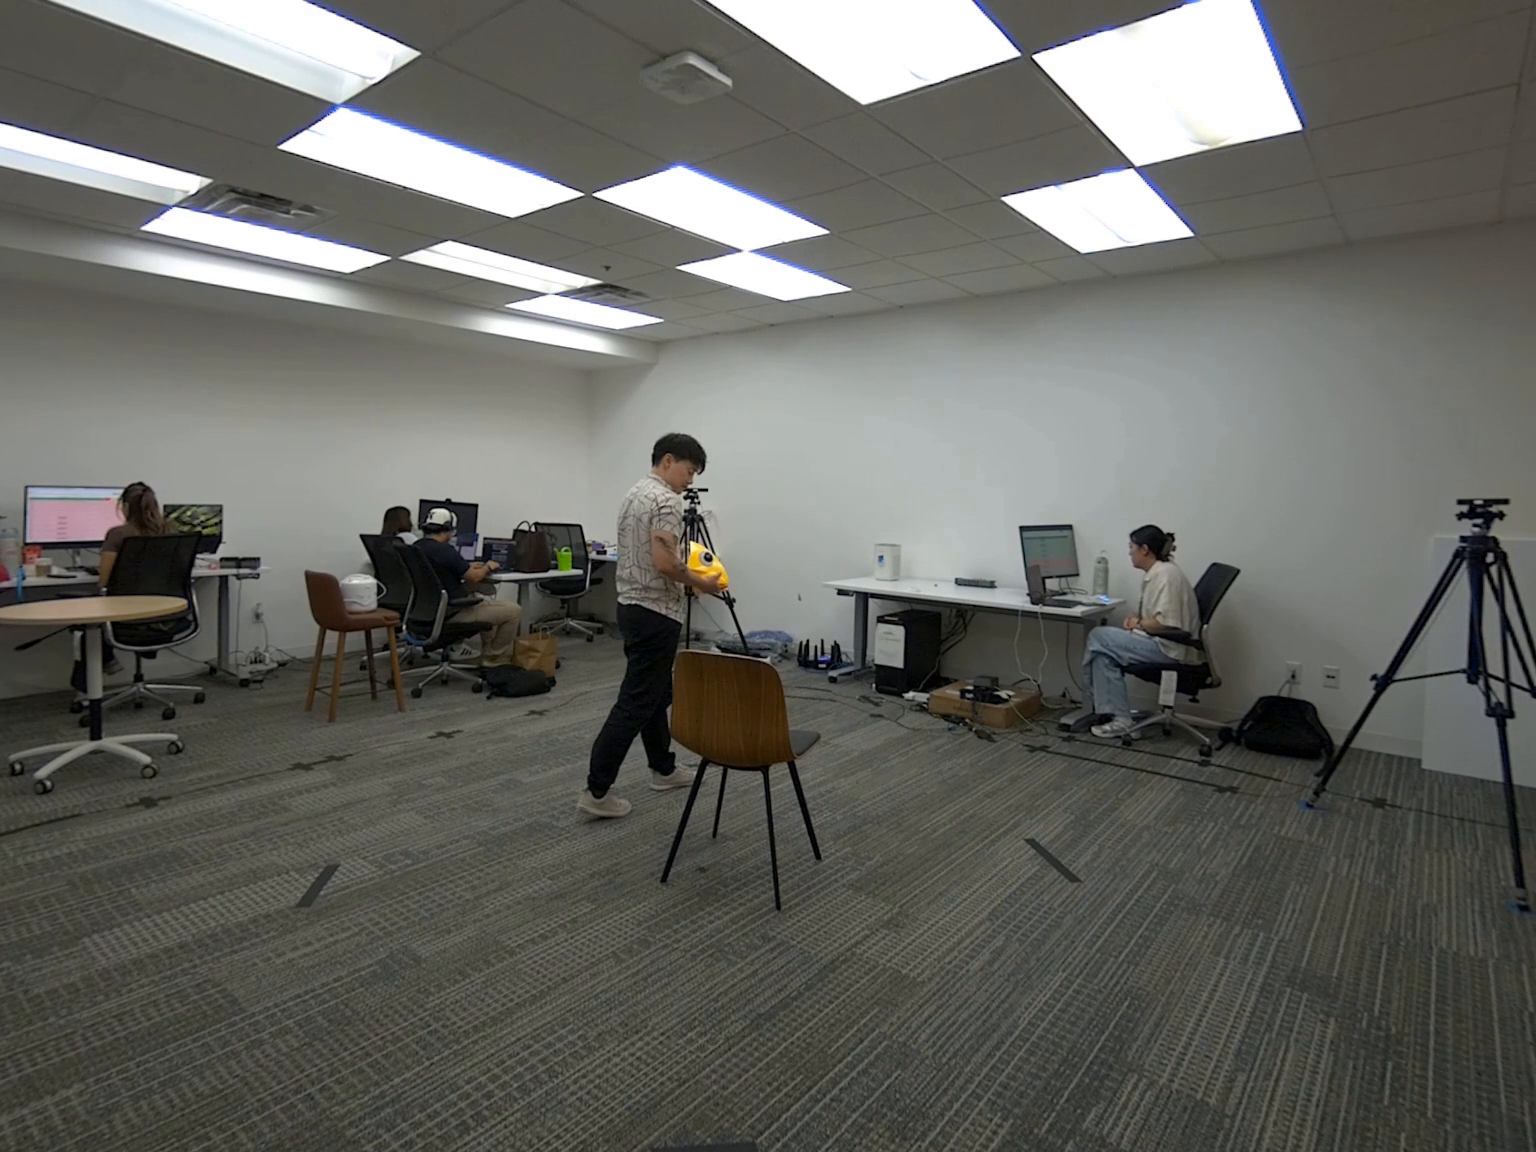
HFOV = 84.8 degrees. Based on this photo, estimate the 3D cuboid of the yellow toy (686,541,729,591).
[{"bbox_3d":[-0.300,-0.056,3.844,0.192,0.234,0.202,-6,-13,-4],"label":"yellow toy"}]
